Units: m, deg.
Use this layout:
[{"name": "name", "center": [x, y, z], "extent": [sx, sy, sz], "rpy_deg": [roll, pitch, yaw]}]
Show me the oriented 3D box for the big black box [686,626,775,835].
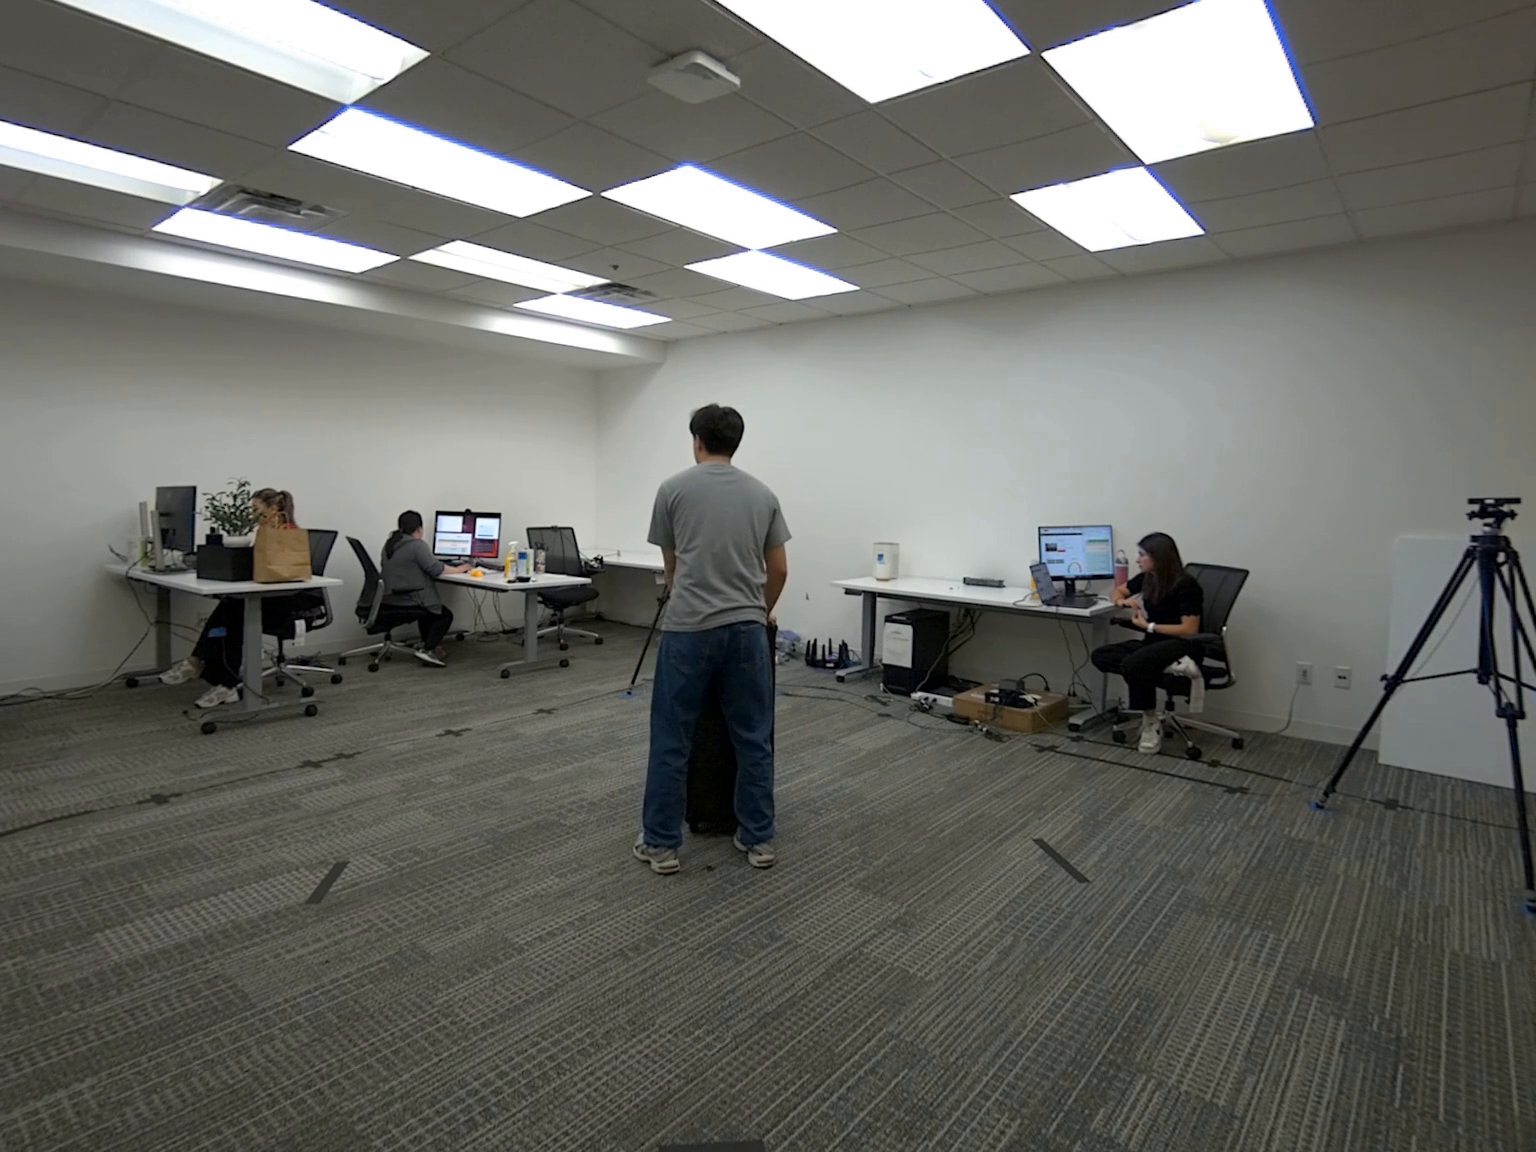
[{"name": "big black box", "center": [-0.212, 0.591, 3.591], "extent": [0.393, 0.859, 0.528], "rpy_deg": [0, 4, -9]}]
